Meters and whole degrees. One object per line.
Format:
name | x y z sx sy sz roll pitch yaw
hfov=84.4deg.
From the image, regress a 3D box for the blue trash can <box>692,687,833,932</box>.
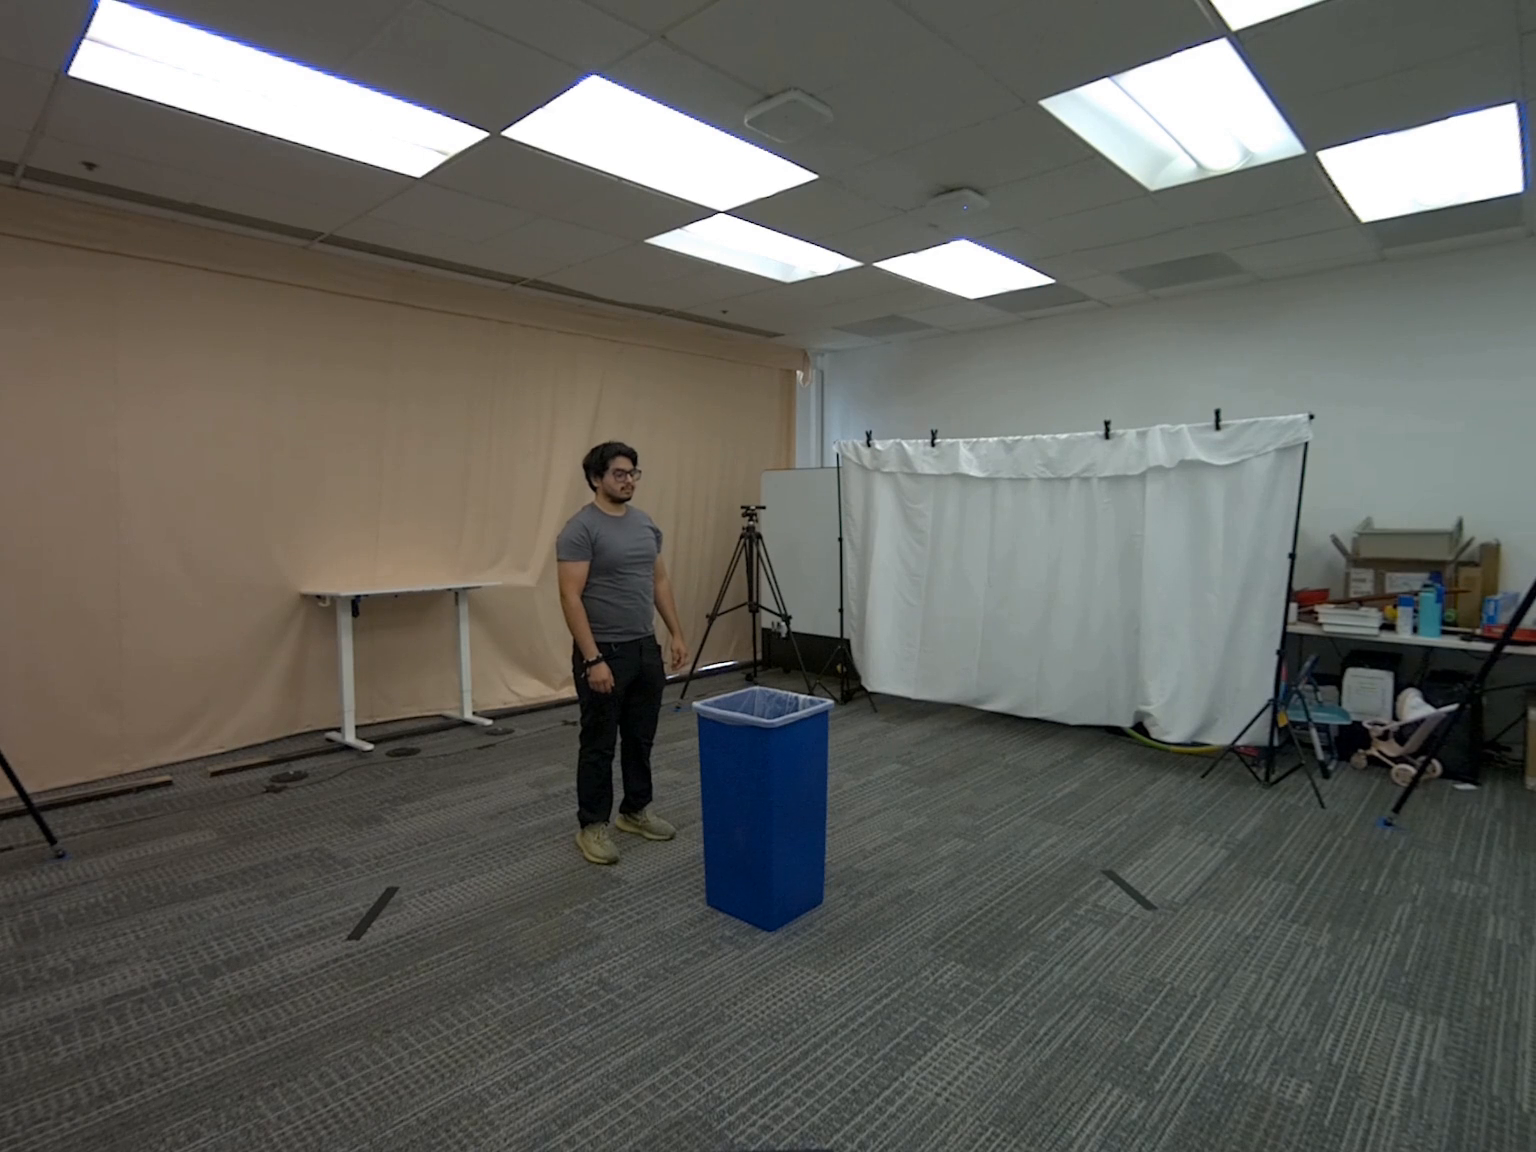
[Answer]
blue trash can | -0.018 0.790 2.932 0.386 0.712 0.367 3 5 40
